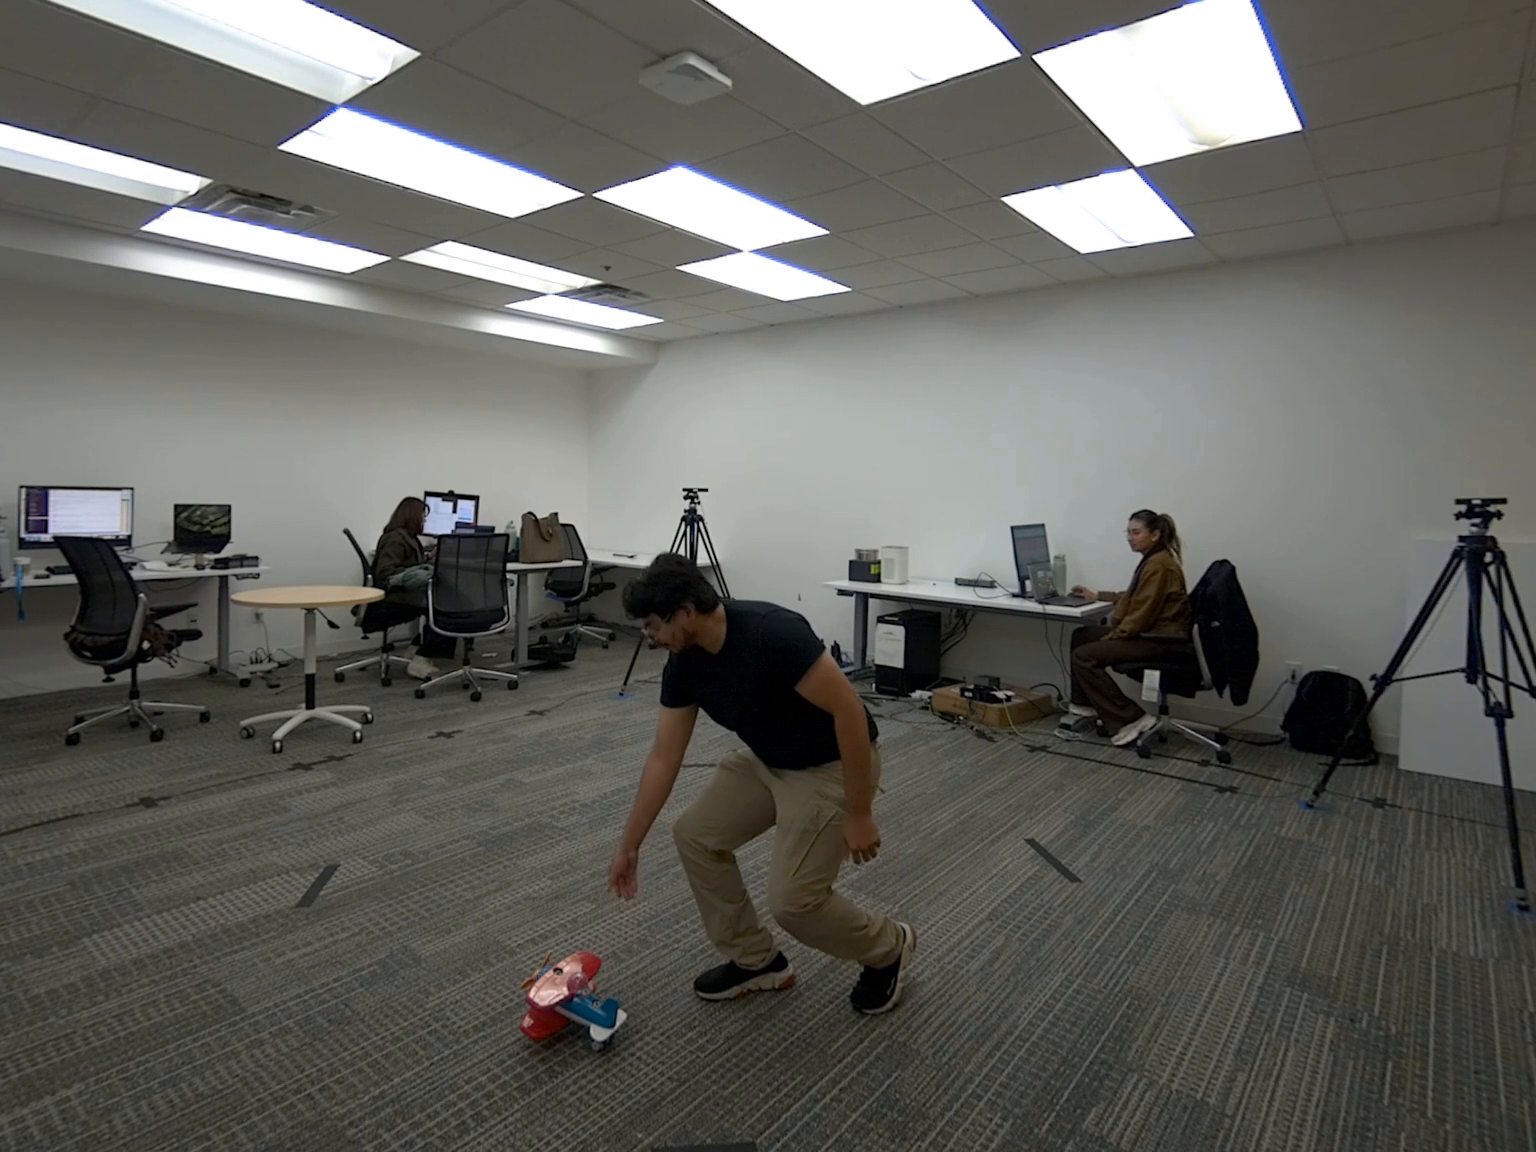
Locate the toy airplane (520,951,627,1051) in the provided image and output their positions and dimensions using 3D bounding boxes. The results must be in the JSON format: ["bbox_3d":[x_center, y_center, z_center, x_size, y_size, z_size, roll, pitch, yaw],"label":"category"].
[{"bbox_3d":[-0.490,1.088,2.174,0.259,0.156,0.253,-1,5,-3],"label":"toy airplane"}]
